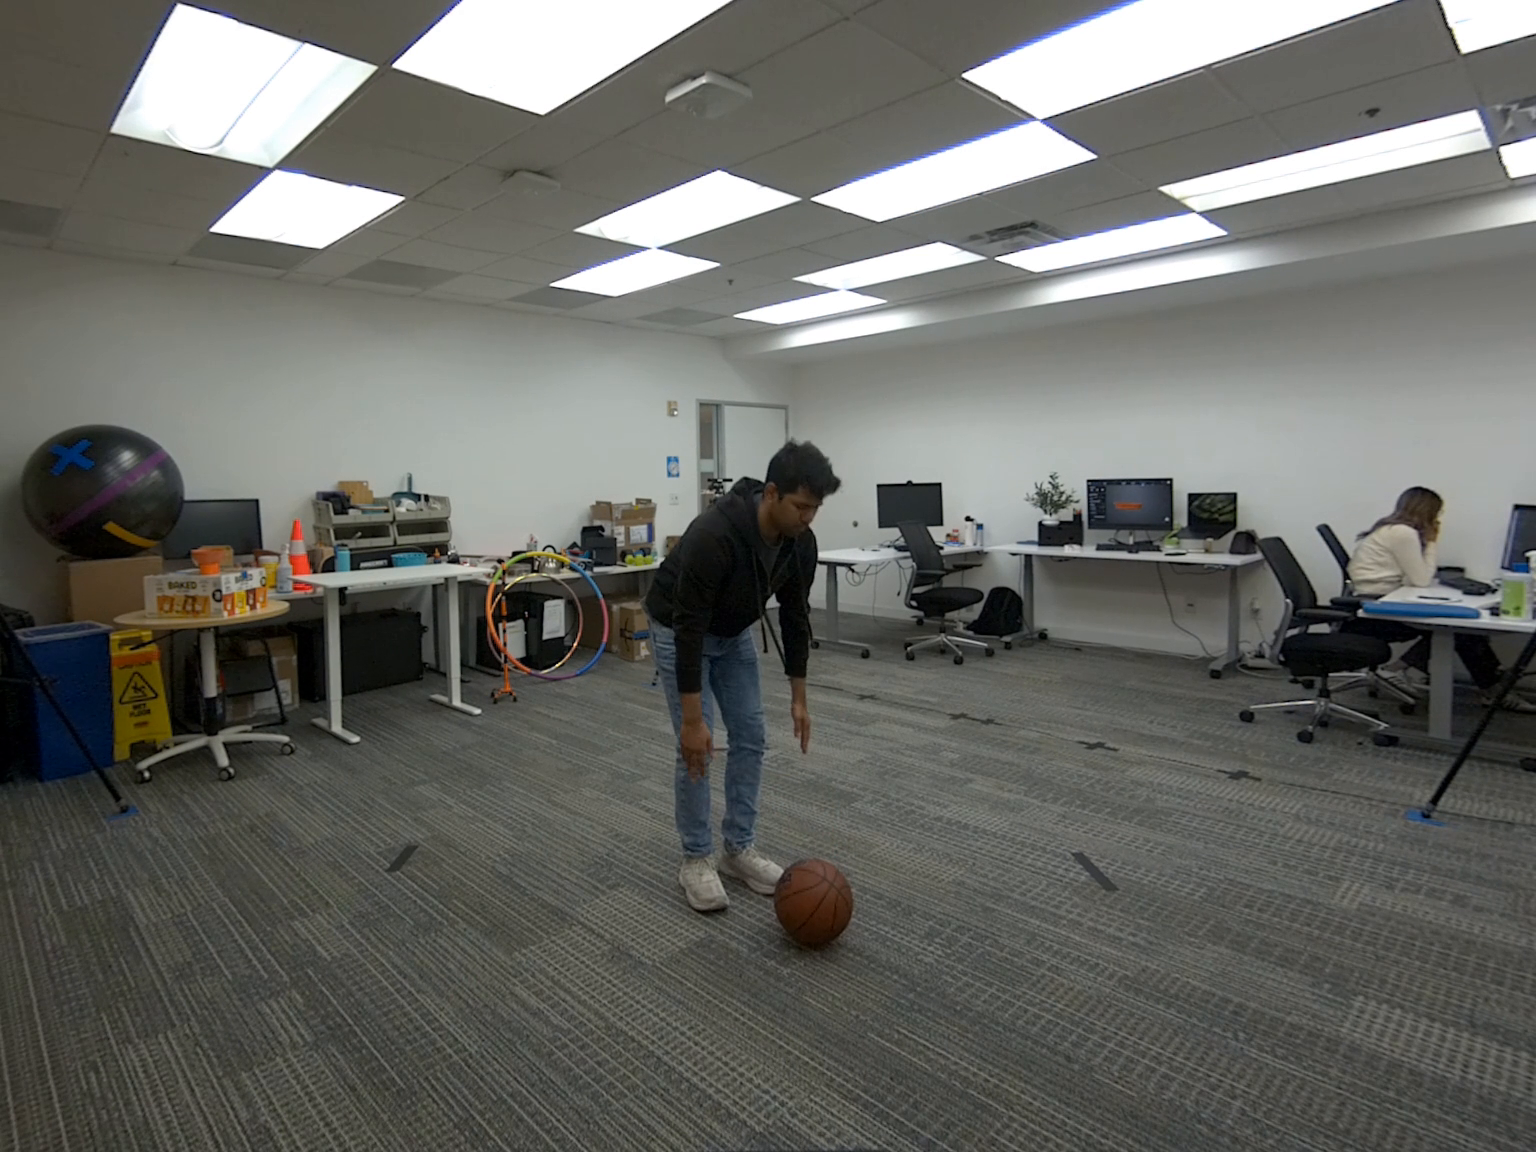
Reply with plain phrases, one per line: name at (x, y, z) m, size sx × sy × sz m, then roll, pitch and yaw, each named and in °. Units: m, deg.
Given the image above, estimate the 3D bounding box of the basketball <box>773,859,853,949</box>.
basketball at (0.146, 0.982, 2.579) m, size 0.236 × 0.235 × 0.237 m, roll -1°, pitch 5°, yaw -2°
